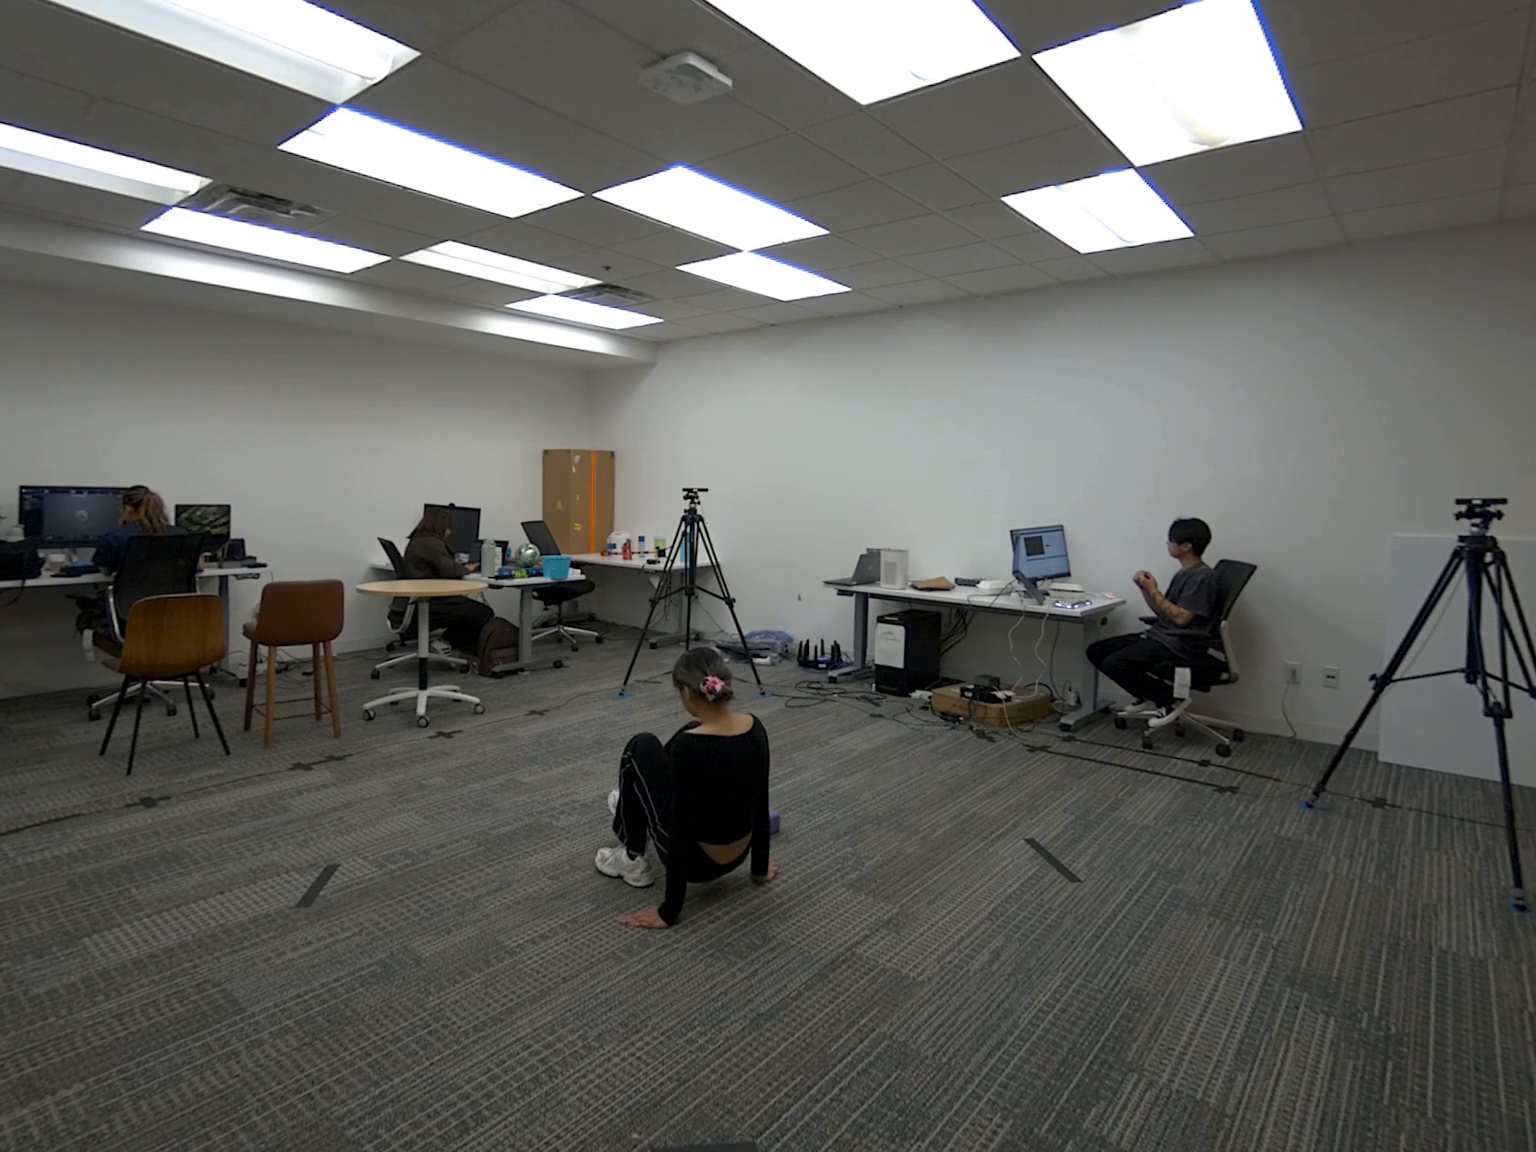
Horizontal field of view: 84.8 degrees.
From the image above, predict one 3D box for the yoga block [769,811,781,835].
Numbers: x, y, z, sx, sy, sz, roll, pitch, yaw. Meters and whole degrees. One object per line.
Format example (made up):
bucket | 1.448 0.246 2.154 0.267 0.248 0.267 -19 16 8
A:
yoga block | -0.086 0.989 3.496 0.237 0.076 0.144 5 6 44
